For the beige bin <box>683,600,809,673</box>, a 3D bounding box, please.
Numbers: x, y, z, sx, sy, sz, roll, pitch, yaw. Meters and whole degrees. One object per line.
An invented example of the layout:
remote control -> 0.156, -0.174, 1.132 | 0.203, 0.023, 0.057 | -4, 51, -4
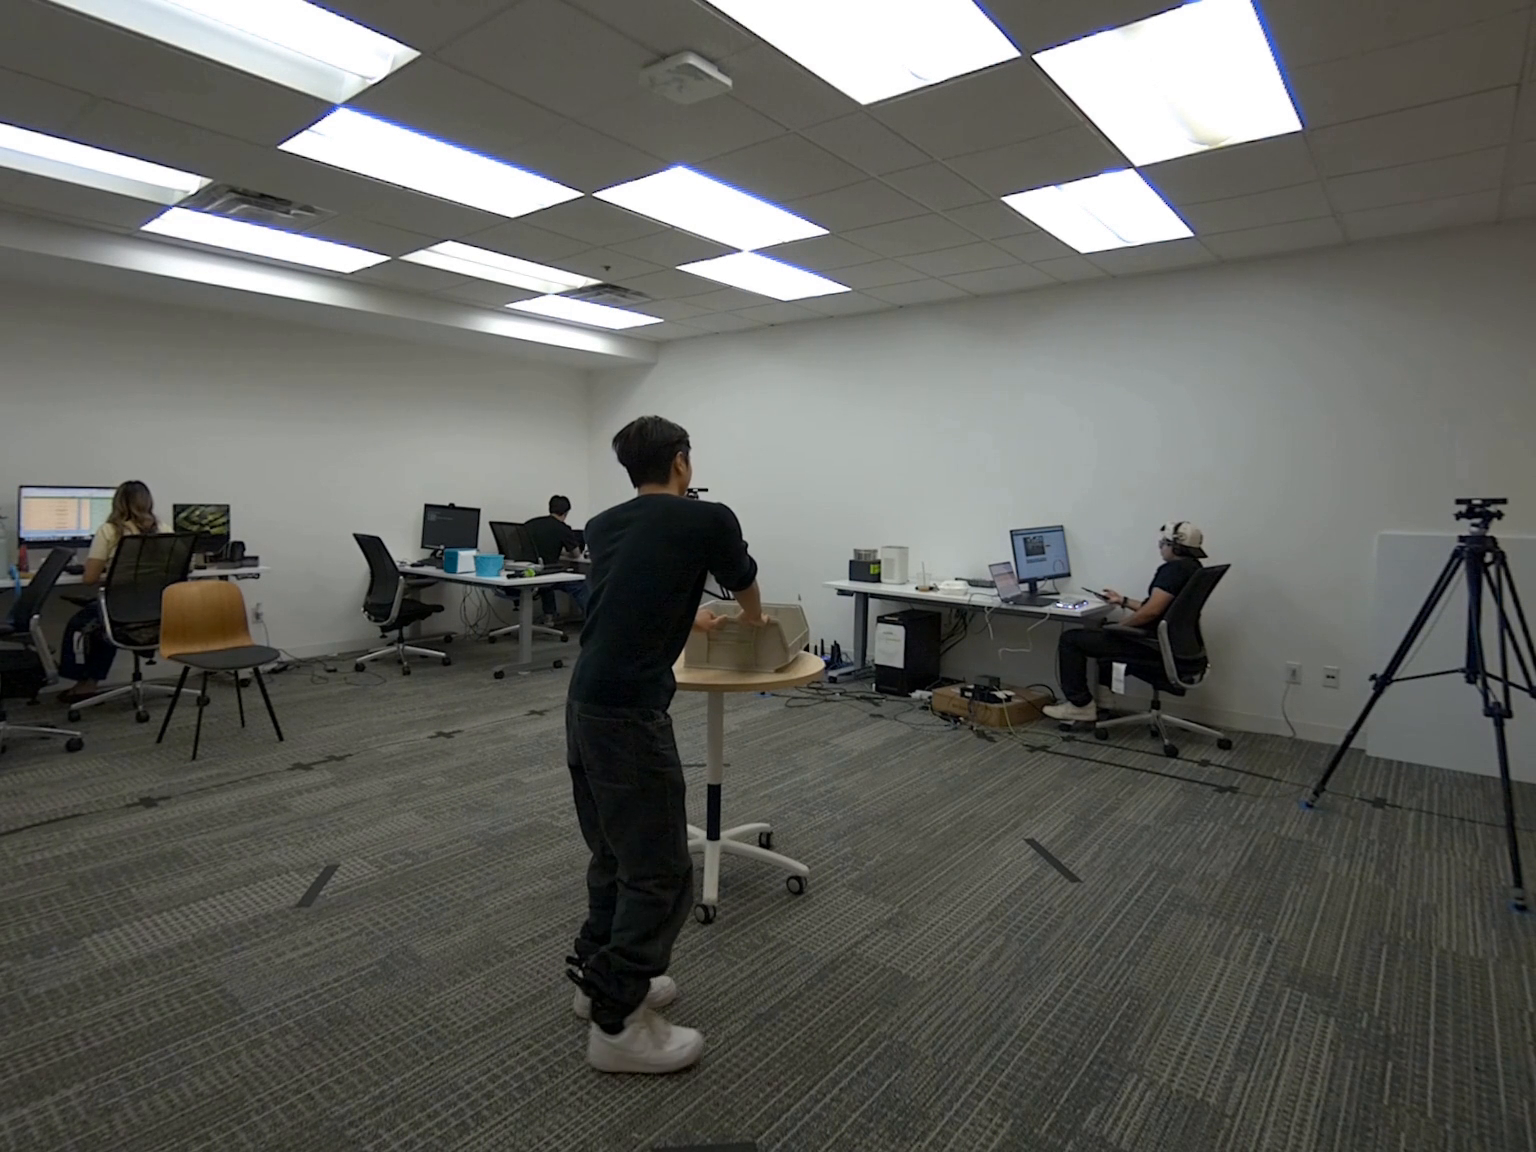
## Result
beige bin -> -0.081, 0.204, 3.028 | 0.383, 0.188, 0.417 | 0, 5, 14
